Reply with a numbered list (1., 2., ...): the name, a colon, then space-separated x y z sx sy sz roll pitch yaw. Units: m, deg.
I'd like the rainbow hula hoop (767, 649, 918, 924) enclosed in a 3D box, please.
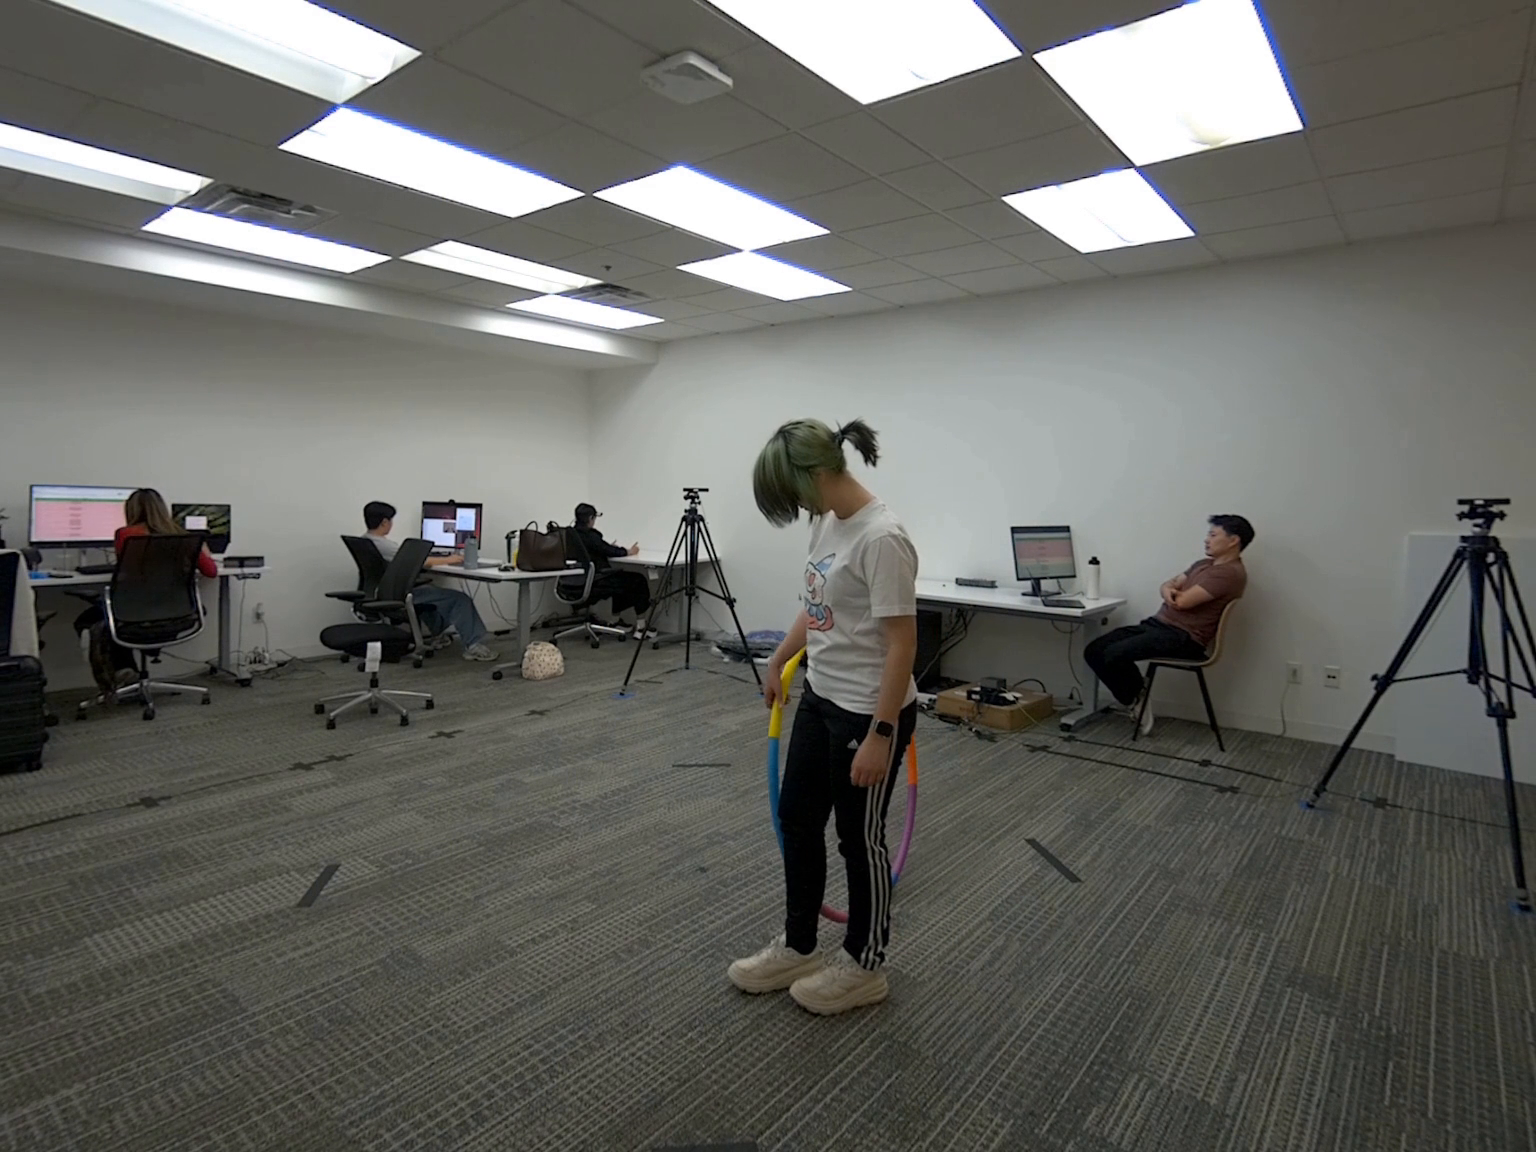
1. rainbow hula hoop: 0.274 0.627 2.862 0.036 0.983 0.952 -12 -4 34
